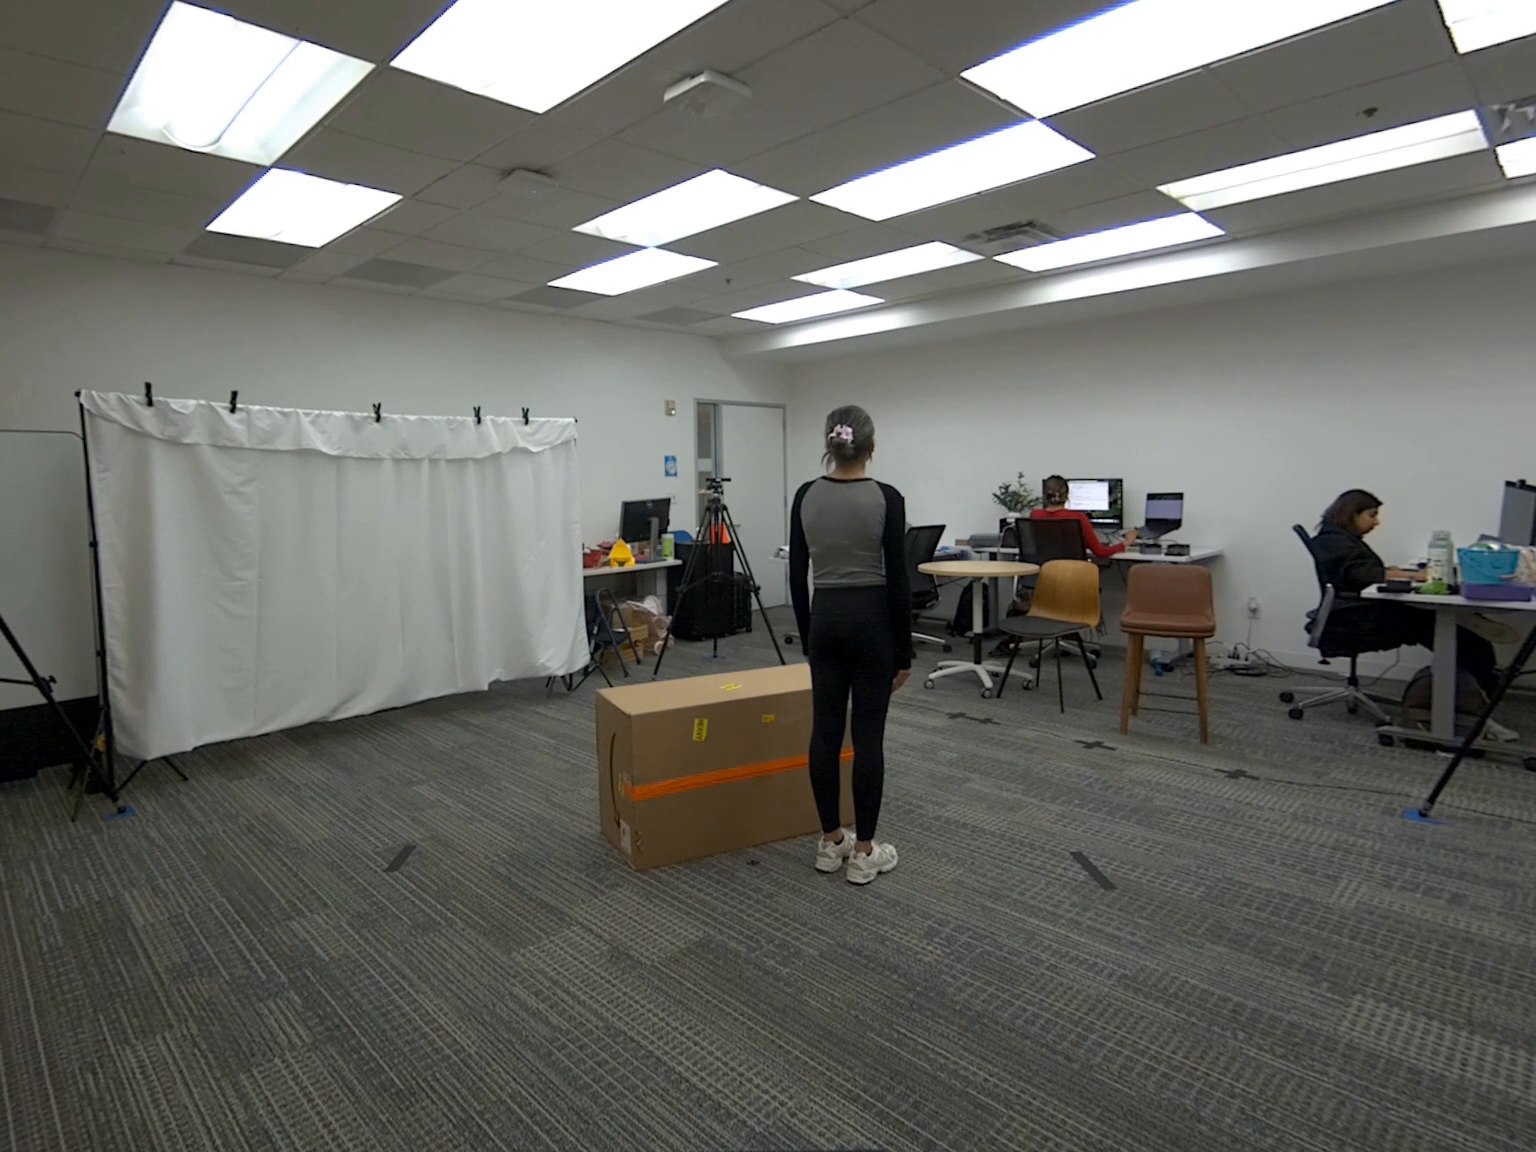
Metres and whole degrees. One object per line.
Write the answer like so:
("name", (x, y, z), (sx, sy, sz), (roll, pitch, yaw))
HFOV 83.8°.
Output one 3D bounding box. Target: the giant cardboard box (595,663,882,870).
("giant cardboard box", (-0.135, 0.719, 3.428), (1.005, 0.581, 0.459), (-4, 7, -26))
